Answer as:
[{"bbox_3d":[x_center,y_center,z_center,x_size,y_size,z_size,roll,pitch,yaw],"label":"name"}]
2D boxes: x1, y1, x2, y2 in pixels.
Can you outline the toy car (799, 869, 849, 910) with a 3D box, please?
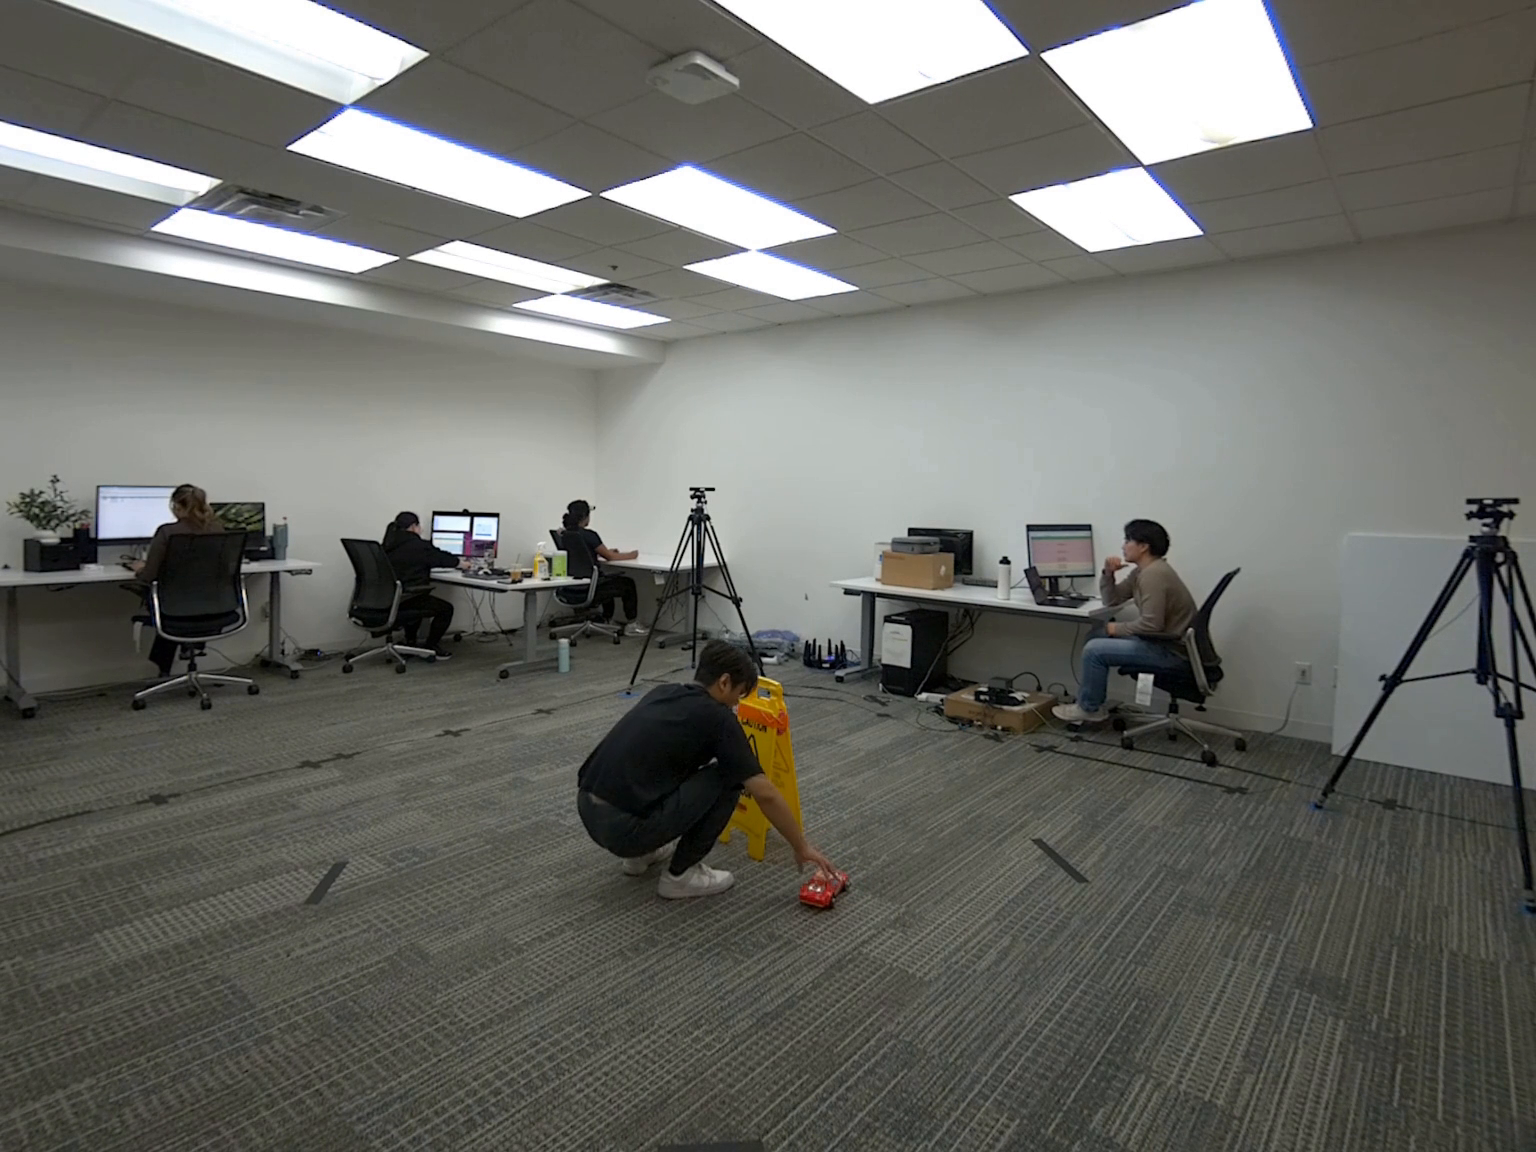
[{"bbox_3d":[0.179,1.069,2.896,0.134,0.083,0.247,4,-4,26],"label":"toy car"}]
